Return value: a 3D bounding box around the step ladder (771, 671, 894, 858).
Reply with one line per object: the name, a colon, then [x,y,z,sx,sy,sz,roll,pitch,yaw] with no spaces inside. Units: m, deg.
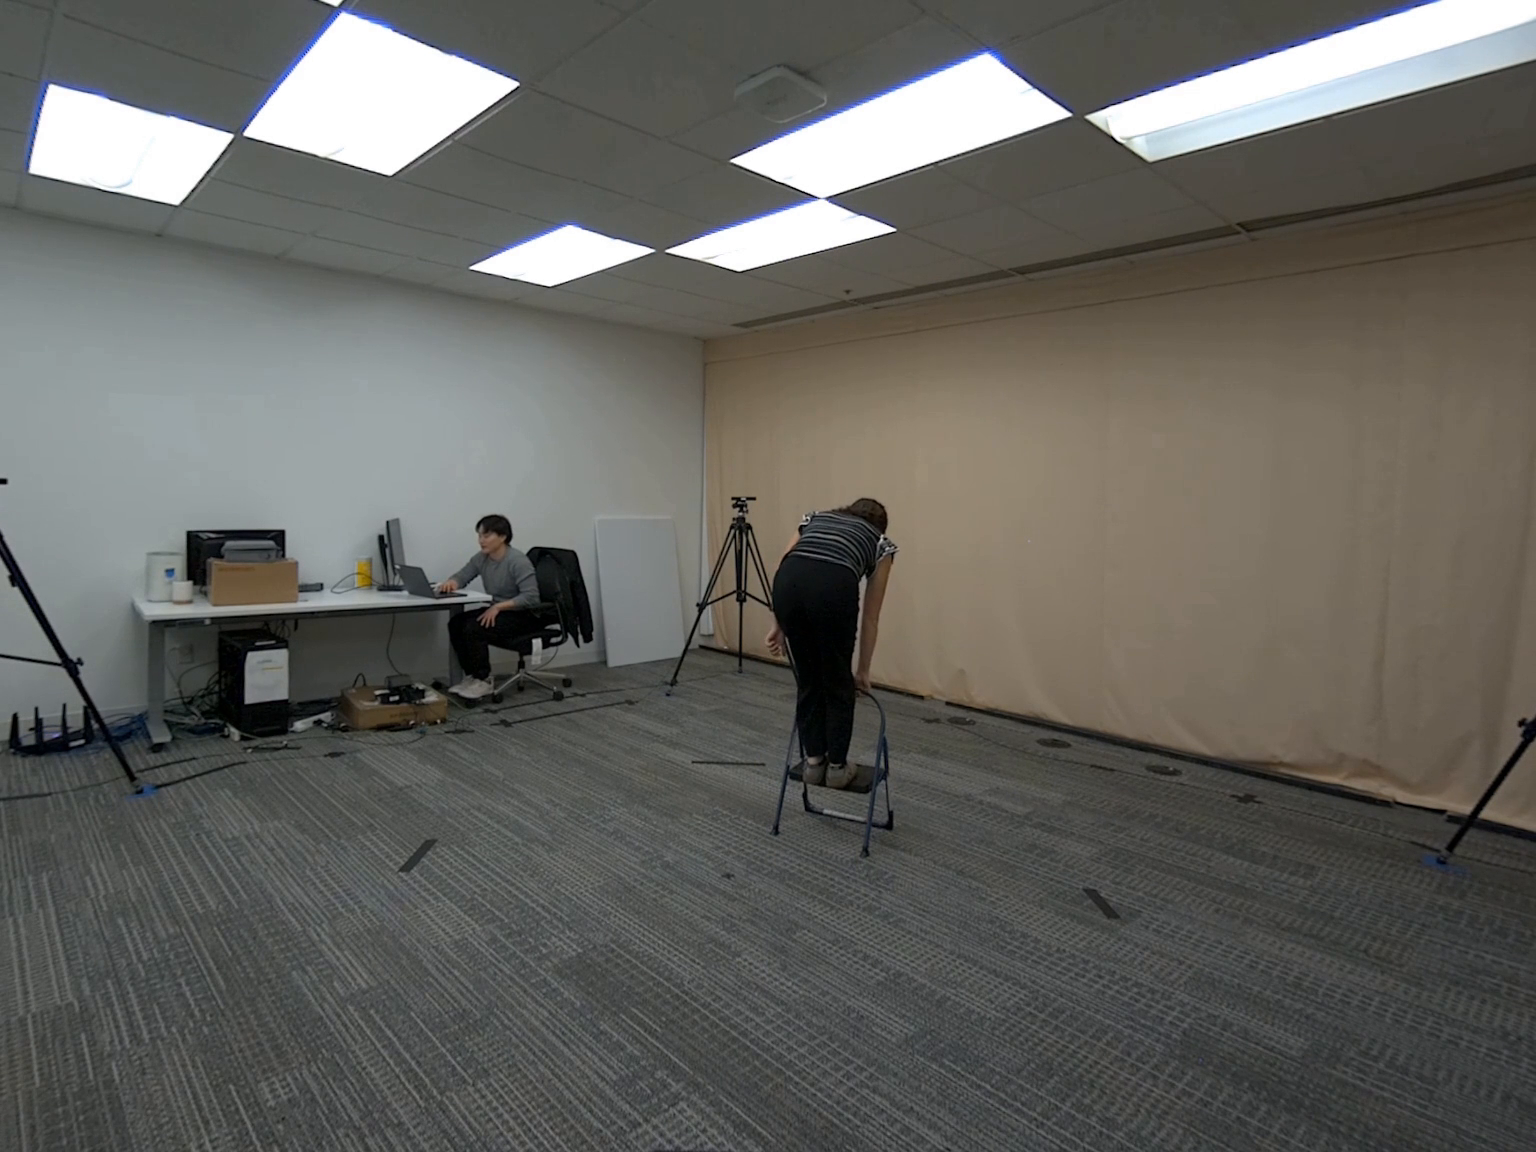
step ladder: [0.280,0.780,3.539,0.440,0.605,0.343,4,4,28]
